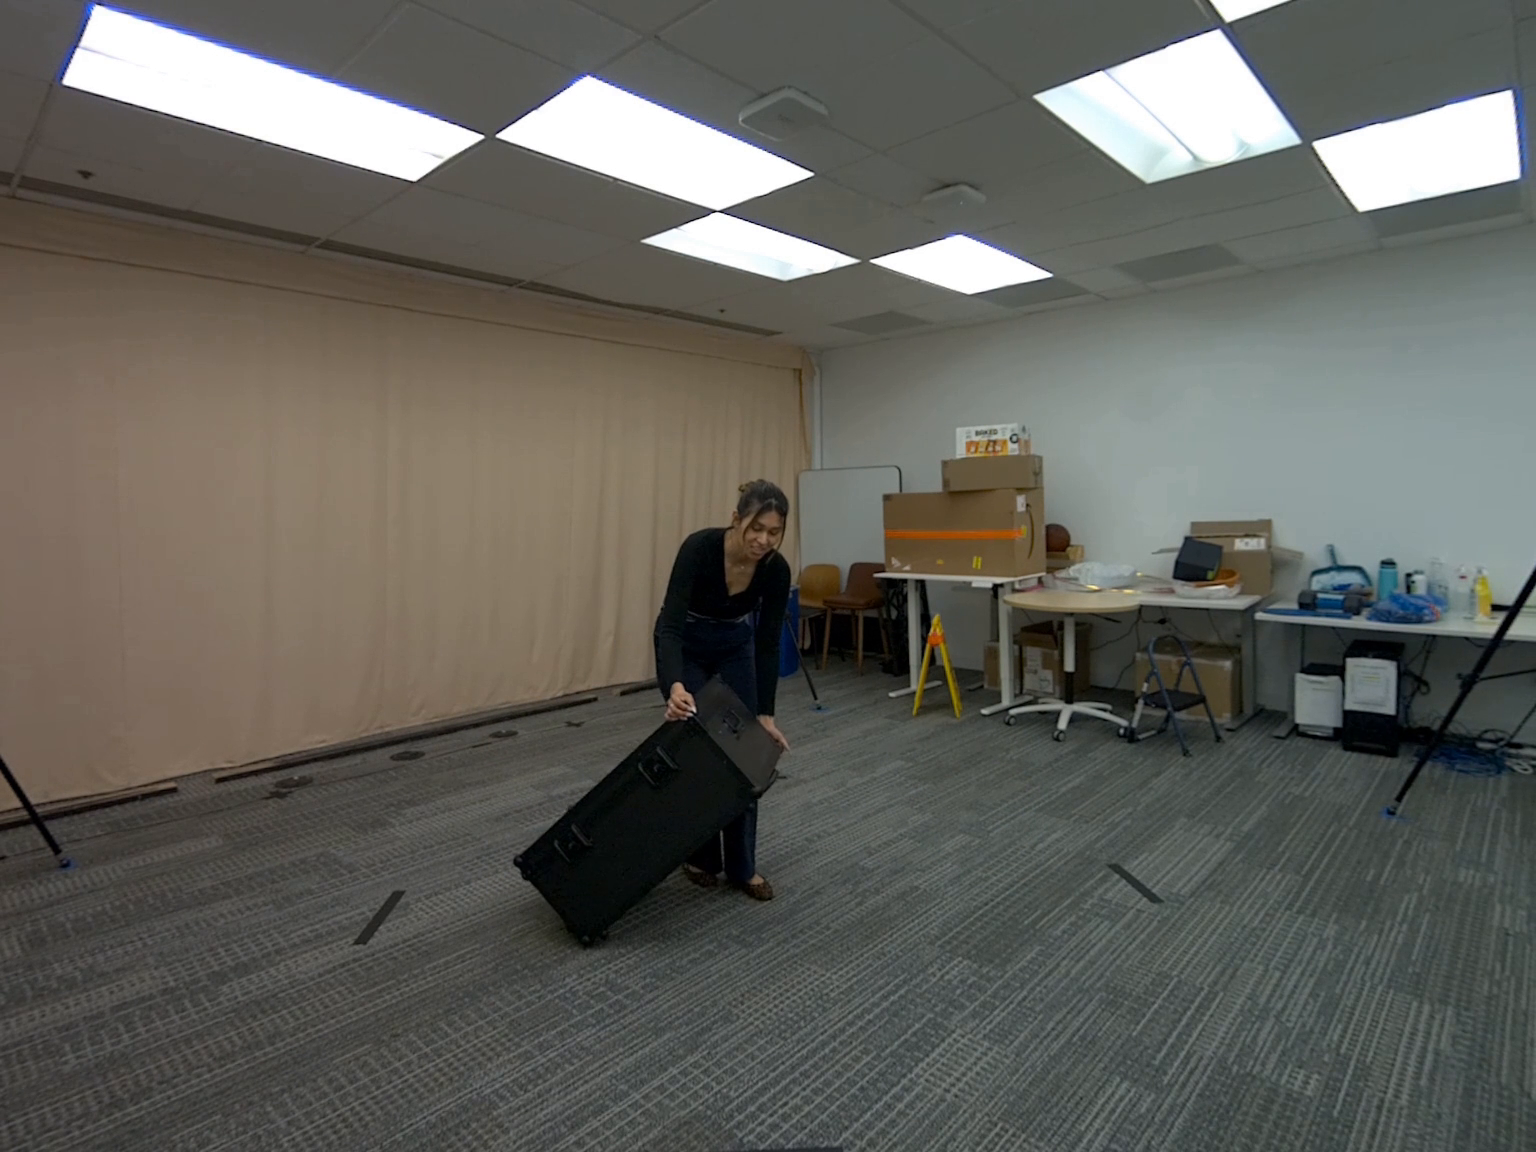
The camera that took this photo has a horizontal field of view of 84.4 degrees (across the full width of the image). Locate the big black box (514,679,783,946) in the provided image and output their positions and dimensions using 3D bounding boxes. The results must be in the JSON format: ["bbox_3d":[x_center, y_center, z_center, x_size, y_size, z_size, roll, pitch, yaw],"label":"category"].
[{"bbox_3d":[-0.394,0.789,2.836,0.864,0.399,0.516,-42,-4,10],"label":"big black box"}]
